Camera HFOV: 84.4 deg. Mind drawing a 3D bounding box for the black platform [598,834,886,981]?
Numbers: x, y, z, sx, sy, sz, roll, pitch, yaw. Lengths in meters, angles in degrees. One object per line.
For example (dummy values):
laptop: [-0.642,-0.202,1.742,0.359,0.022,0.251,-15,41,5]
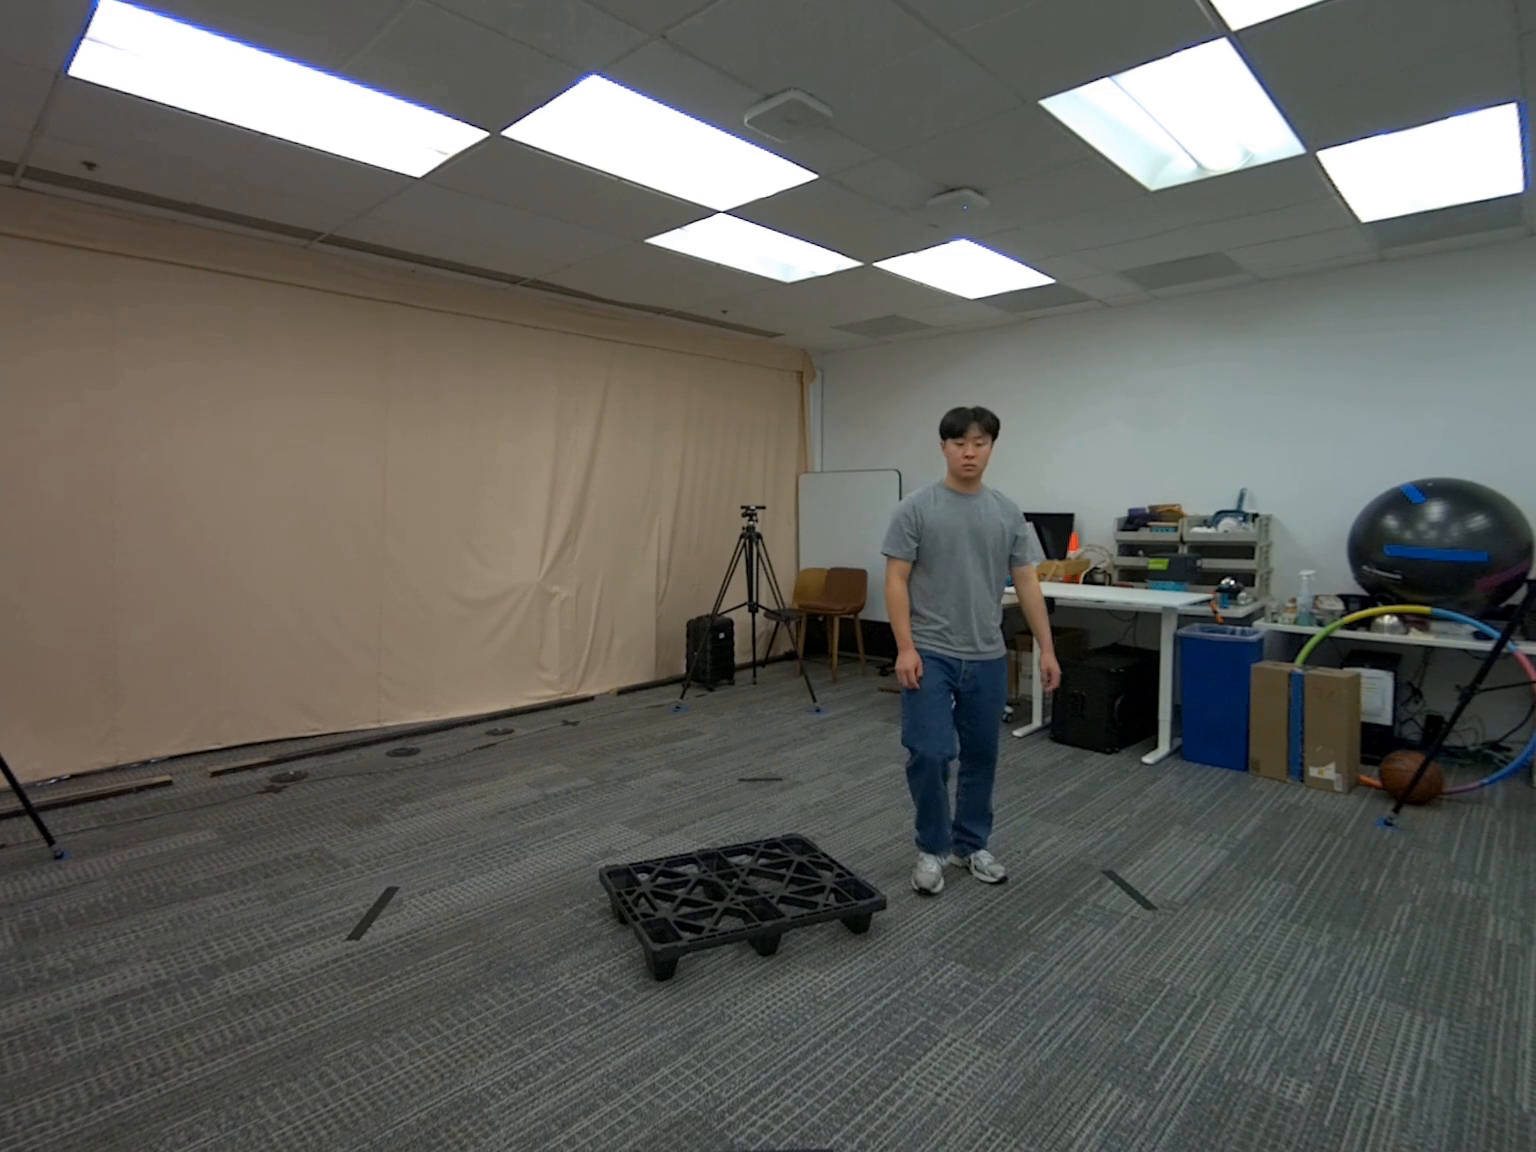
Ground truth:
black platform: [-0.105,1.090,2.817,0.787,0.143,0.621,-2,5,-25]
